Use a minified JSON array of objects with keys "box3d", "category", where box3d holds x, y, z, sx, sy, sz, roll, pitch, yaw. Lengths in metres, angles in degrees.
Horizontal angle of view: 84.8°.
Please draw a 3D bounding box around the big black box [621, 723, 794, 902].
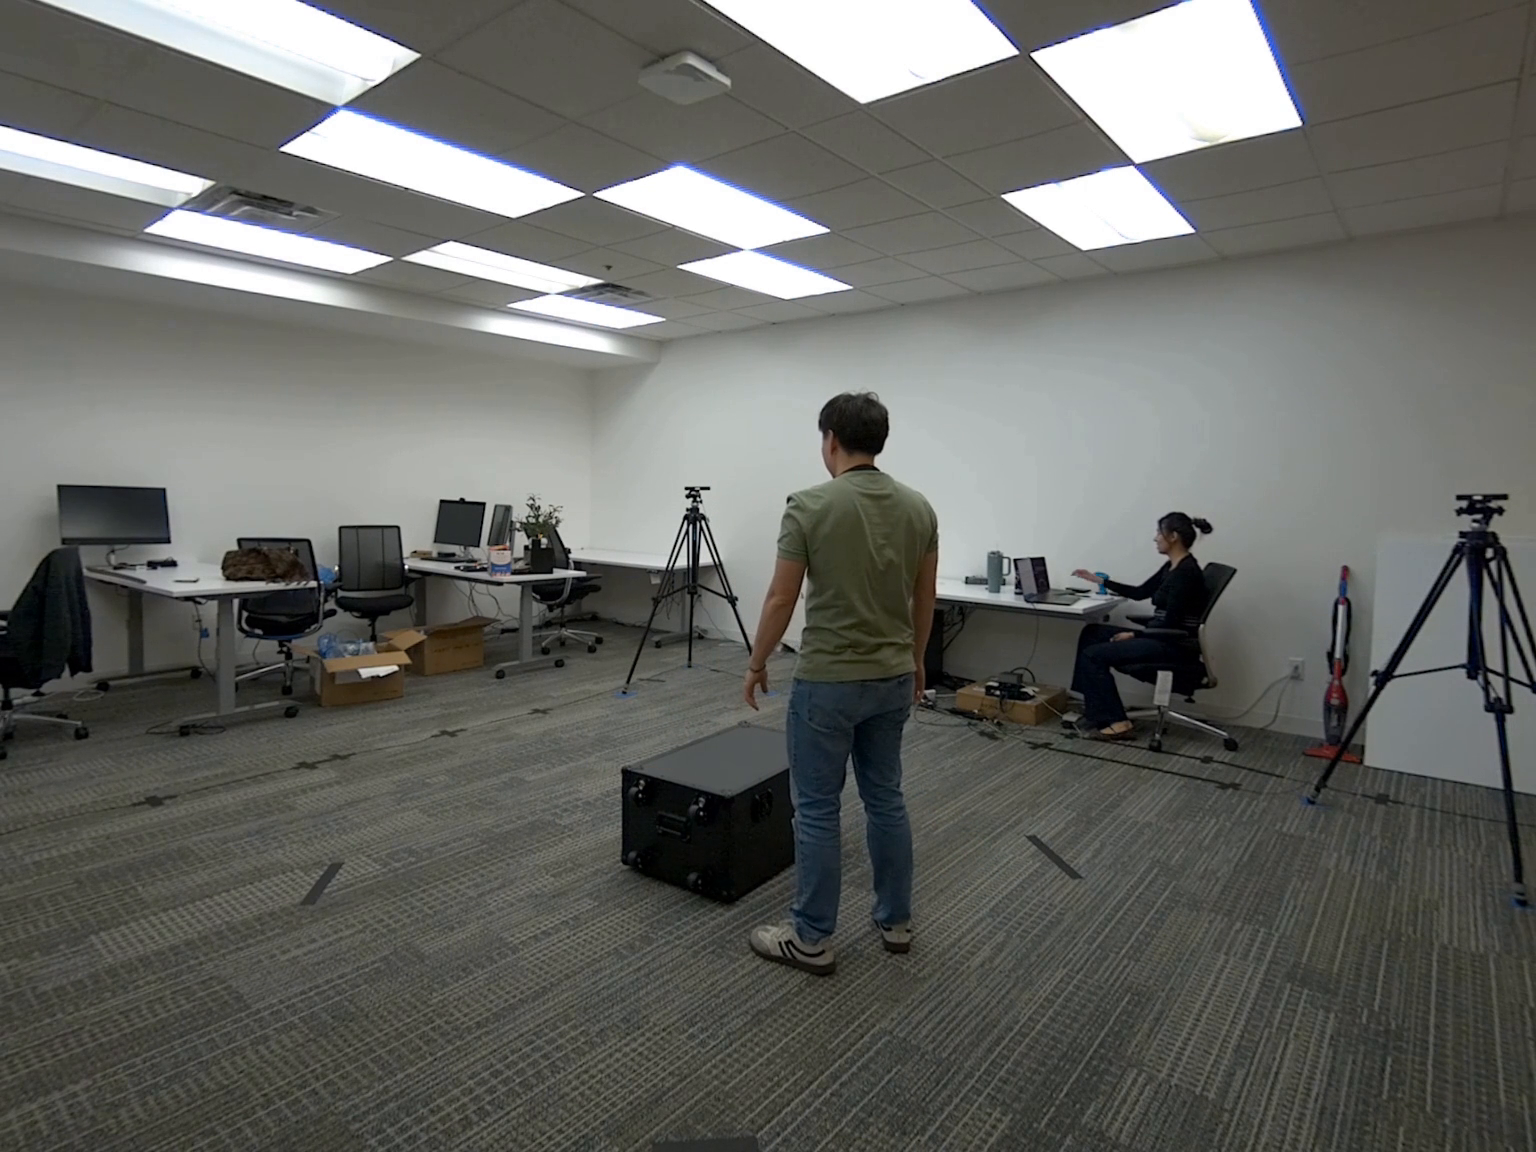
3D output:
[{"box3d":[-0.153,0.865,3.224,0.538,0.395,0.838,4,6,33],"category":"big black box"}]
